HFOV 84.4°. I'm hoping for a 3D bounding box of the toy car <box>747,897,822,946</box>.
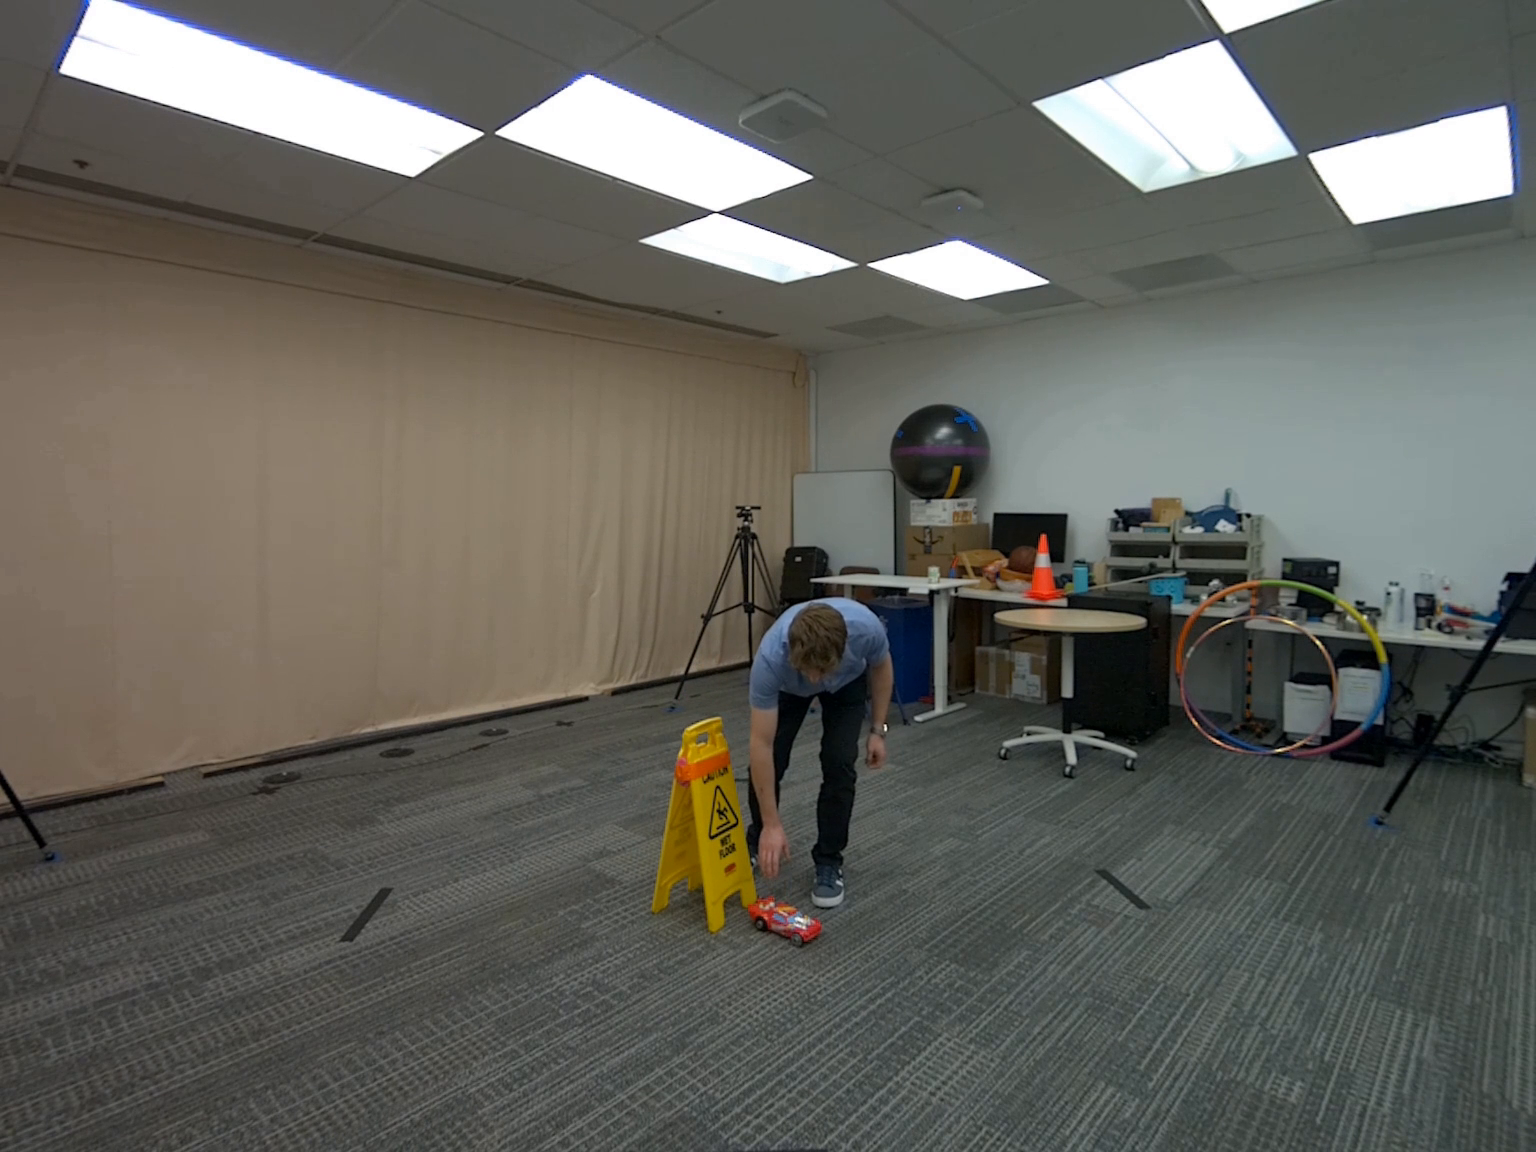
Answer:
[{"bbox_3d":[0.054,1.138,2.758,0.263,0.083,0.126,14,14,38],"label":"toy car"}]
